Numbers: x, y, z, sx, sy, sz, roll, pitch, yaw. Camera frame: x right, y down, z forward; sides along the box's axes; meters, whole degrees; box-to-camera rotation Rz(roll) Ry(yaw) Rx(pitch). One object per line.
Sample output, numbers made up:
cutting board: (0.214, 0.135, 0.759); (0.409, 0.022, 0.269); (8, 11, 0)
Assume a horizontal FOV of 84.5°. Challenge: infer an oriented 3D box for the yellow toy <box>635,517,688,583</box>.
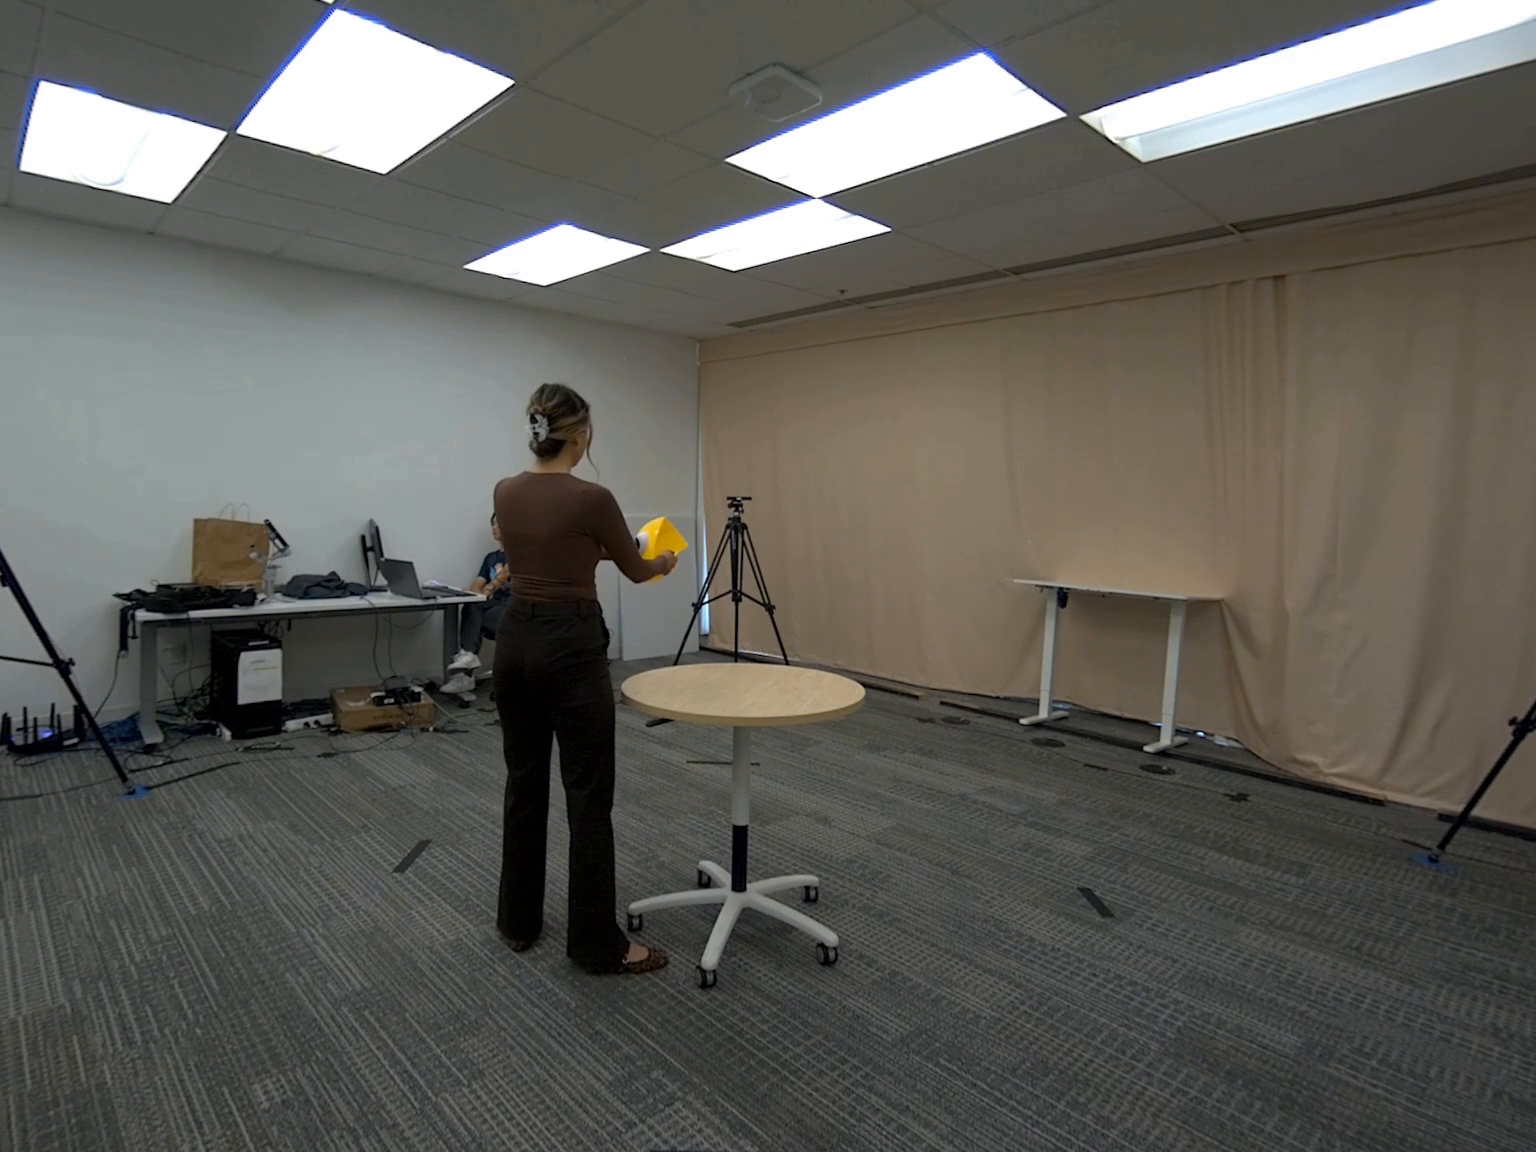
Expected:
yellow toy: (-0.421, -0.122, 3.009); (0.198, 0.226, 0.204); (18, 35, 27)
